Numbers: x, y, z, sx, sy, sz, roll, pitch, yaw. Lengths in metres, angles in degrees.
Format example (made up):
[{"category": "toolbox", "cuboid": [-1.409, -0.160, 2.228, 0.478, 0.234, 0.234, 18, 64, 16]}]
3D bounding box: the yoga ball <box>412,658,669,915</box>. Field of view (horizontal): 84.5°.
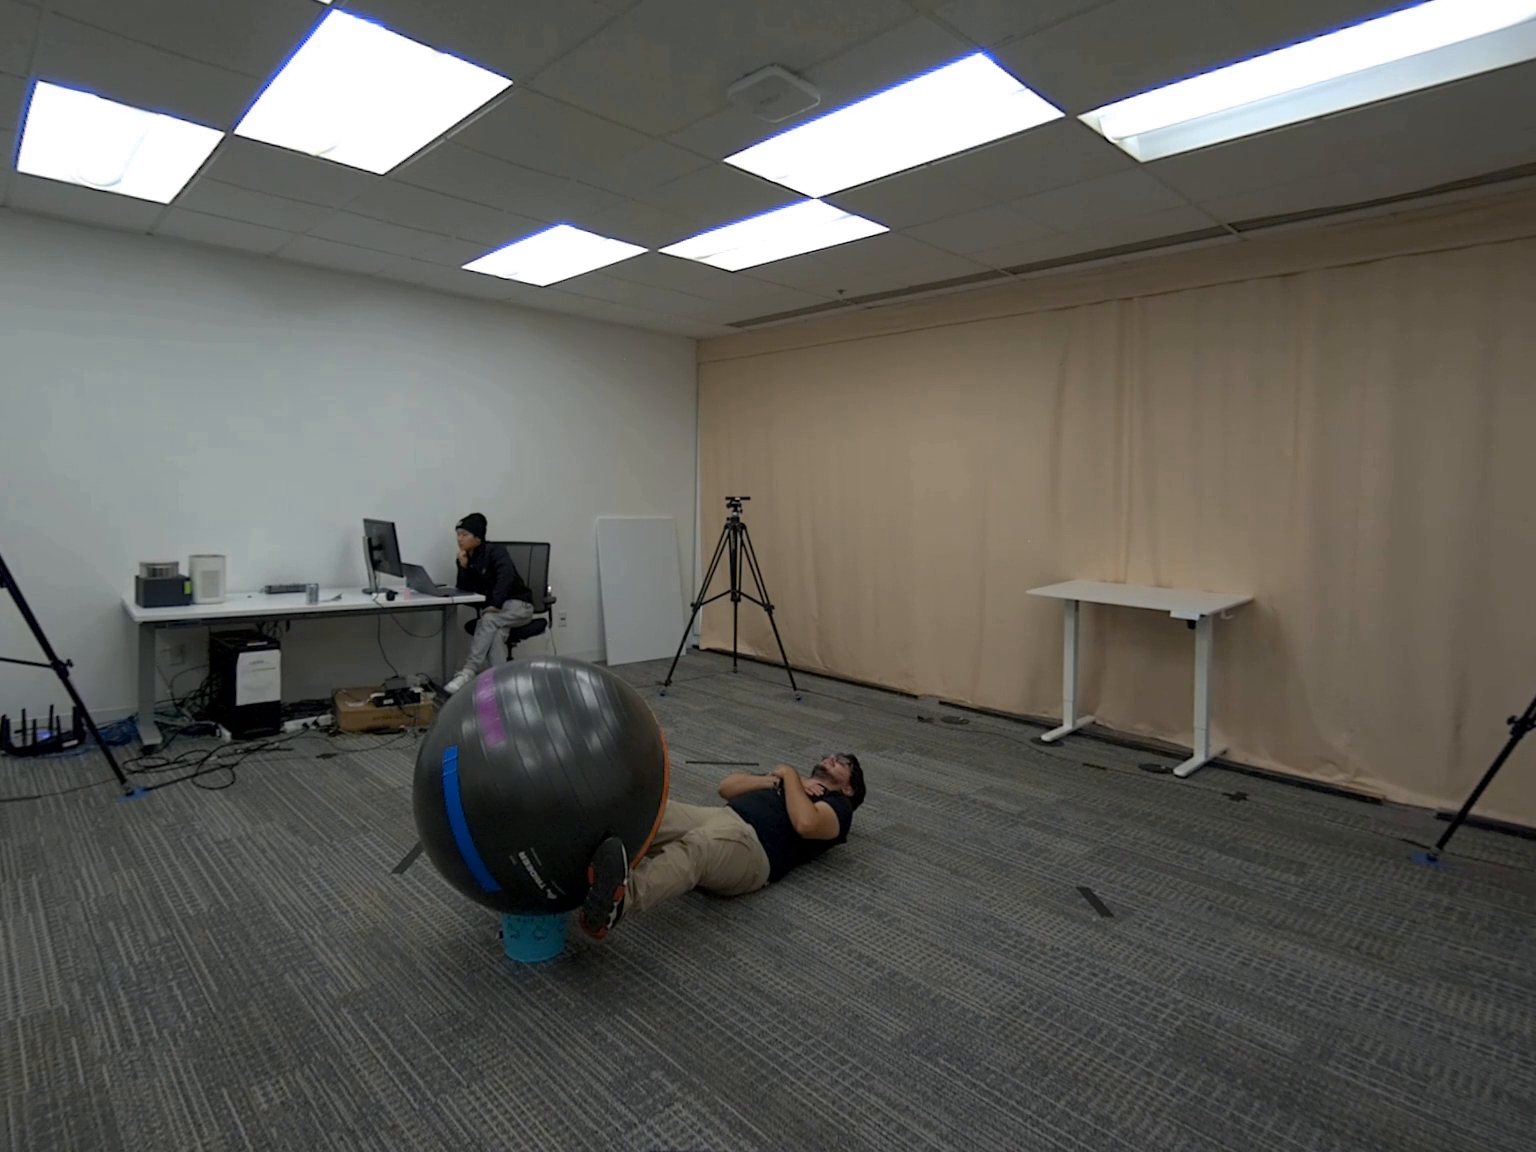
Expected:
[{"category": "yoga ball", "cuboid": [-0.689, 0.631, 2.564, 0.757, 0.756, 0.761, 1, 4, -1]}]
